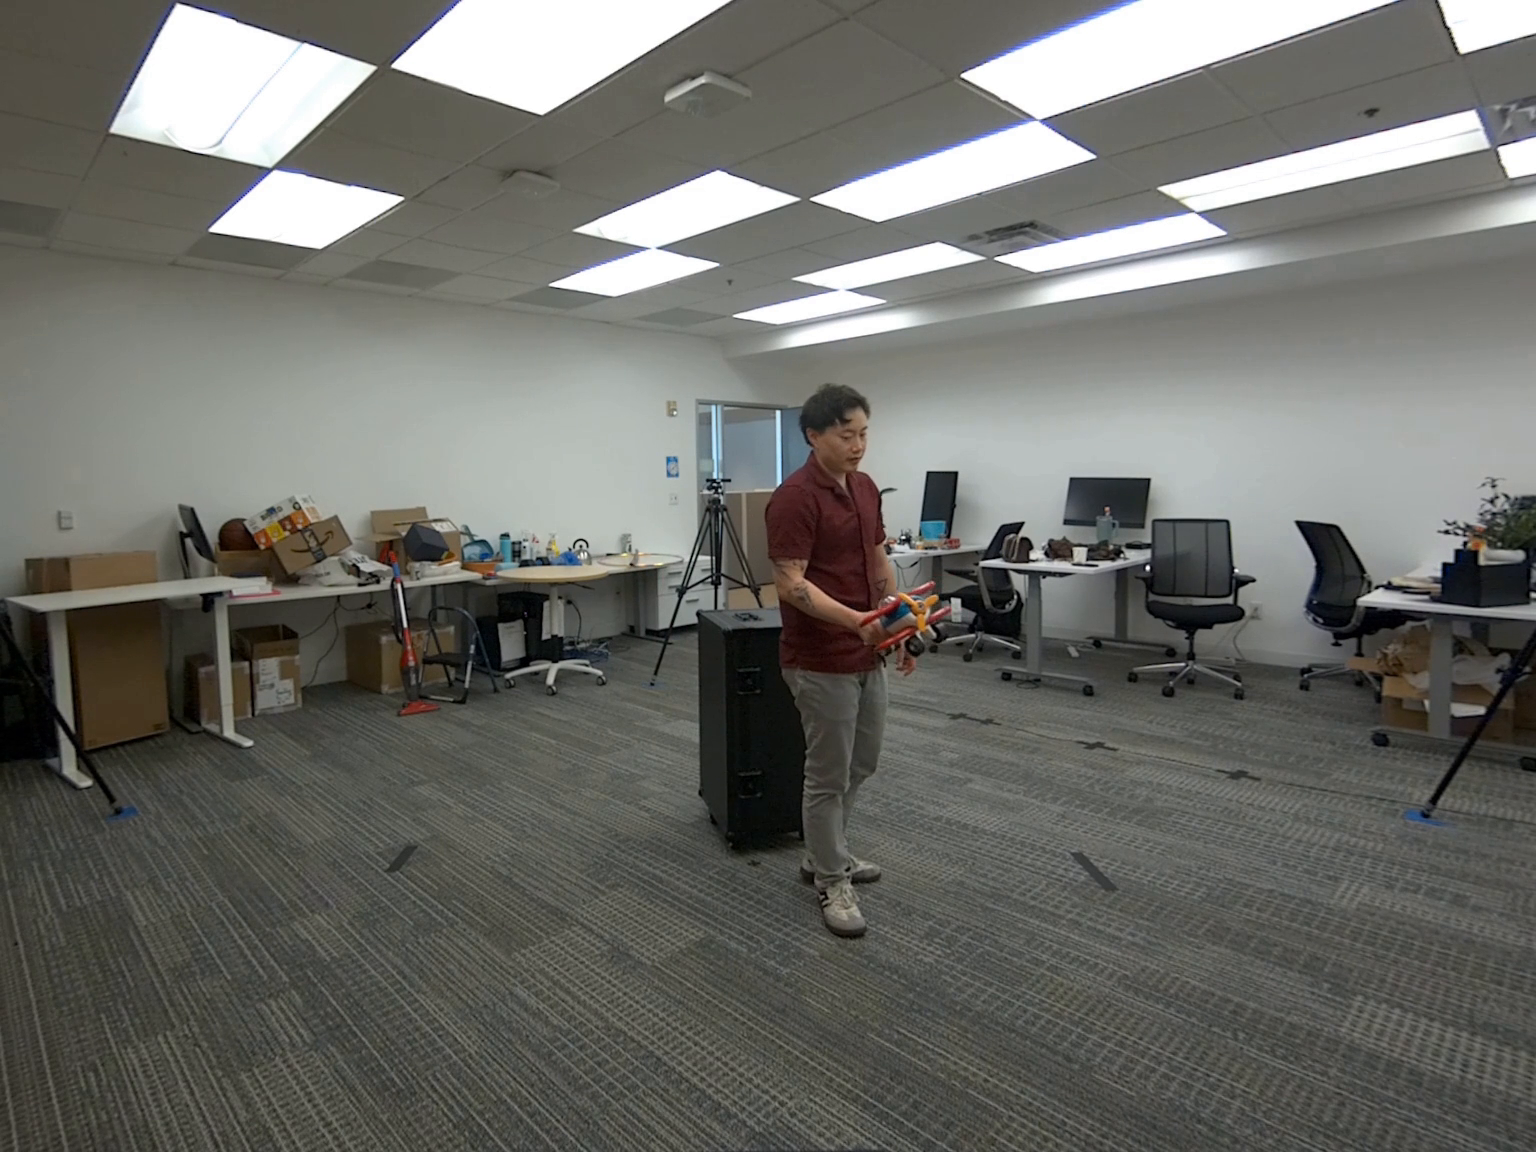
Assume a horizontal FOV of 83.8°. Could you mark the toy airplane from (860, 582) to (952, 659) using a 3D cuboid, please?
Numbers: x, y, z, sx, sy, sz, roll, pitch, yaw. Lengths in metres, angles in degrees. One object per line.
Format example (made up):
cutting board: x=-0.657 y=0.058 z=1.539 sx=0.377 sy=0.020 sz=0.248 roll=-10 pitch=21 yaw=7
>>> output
toy airplane: x=0.350 y=0.142 z=2.334 sx=0.263 sy=0.156 sz=0.247 roll=-21 pitch=3 yaw=37
